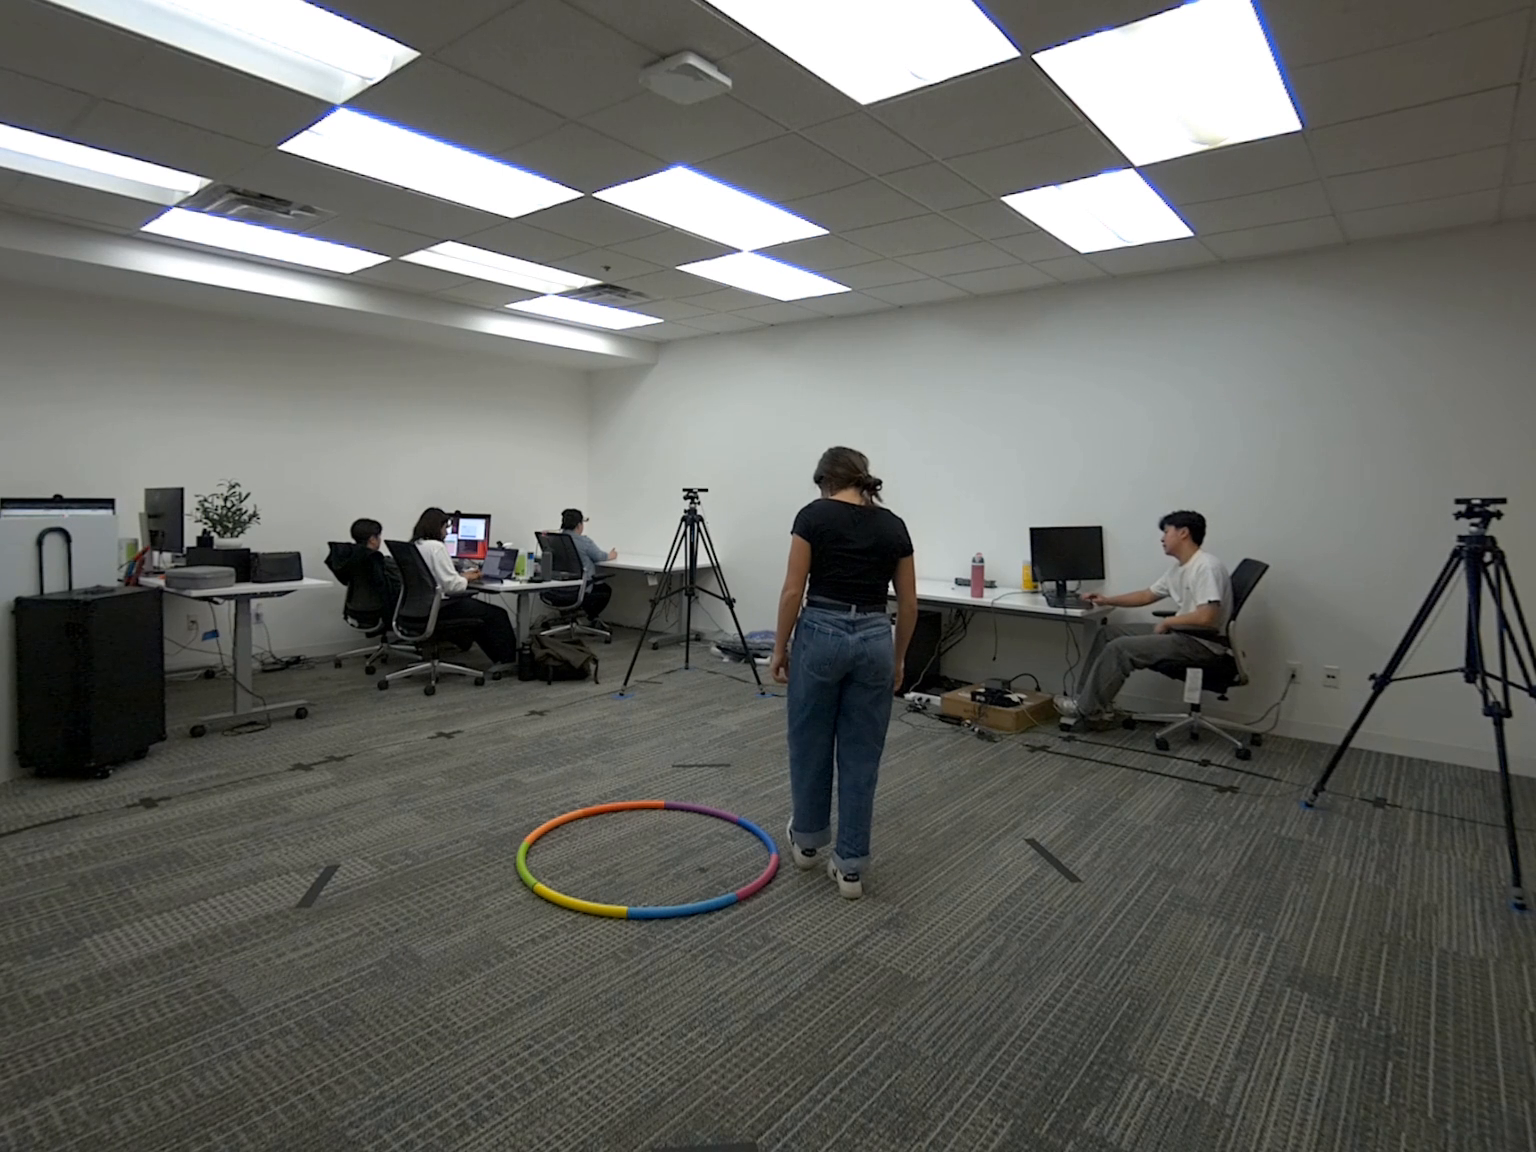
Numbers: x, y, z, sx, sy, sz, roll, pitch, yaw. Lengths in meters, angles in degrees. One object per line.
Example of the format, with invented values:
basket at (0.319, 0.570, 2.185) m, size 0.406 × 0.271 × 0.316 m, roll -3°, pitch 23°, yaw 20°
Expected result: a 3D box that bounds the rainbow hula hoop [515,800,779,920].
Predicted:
rainbow hula hoop at (-0.443, 1.018, 3.214) m, size 0.978 × 0.035 × 0.984 m, roll 1°, pitch 6°, yaw -2°
